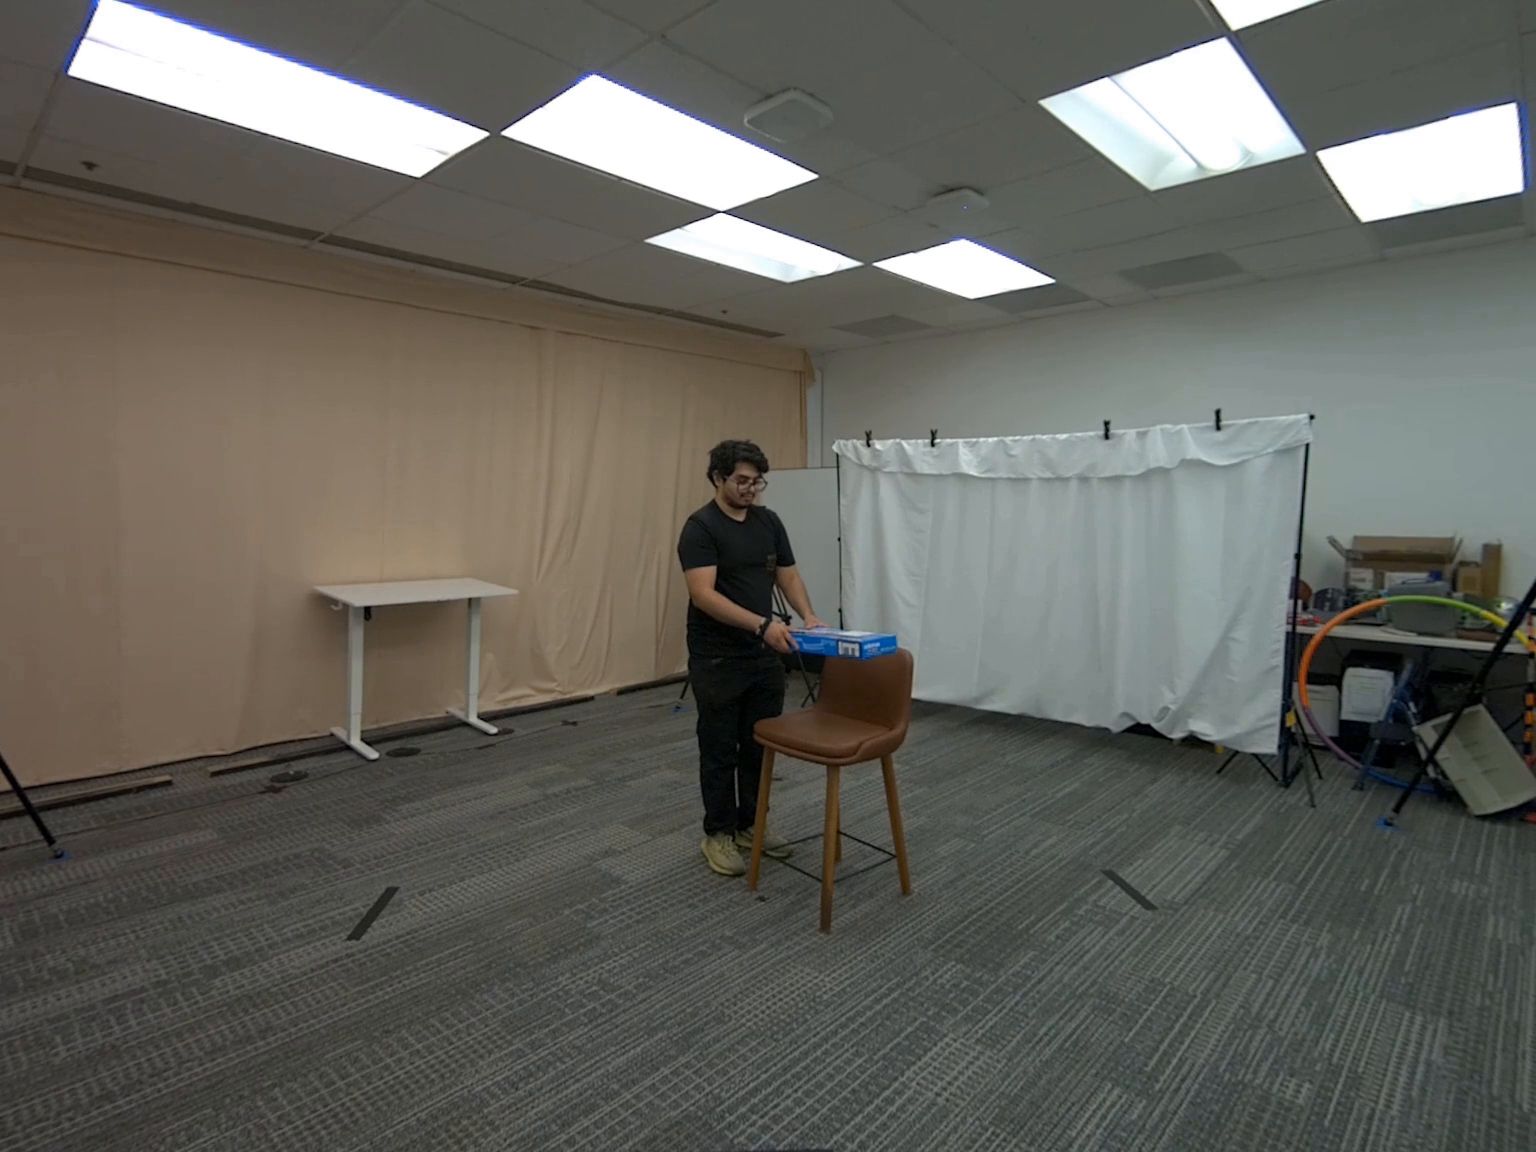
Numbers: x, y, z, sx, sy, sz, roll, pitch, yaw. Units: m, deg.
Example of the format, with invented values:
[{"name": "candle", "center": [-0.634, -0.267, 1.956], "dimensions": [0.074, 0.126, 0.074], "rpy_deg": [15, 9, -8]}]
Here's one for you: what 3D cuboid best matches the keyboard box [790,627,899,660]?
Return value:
[{"name": "keyboard box", "center": [0.229, 0.228, 2.907], "dimensions": [0.171, 0.059, 0.451], "rpy_deg": [-7, 5, -39]}]
